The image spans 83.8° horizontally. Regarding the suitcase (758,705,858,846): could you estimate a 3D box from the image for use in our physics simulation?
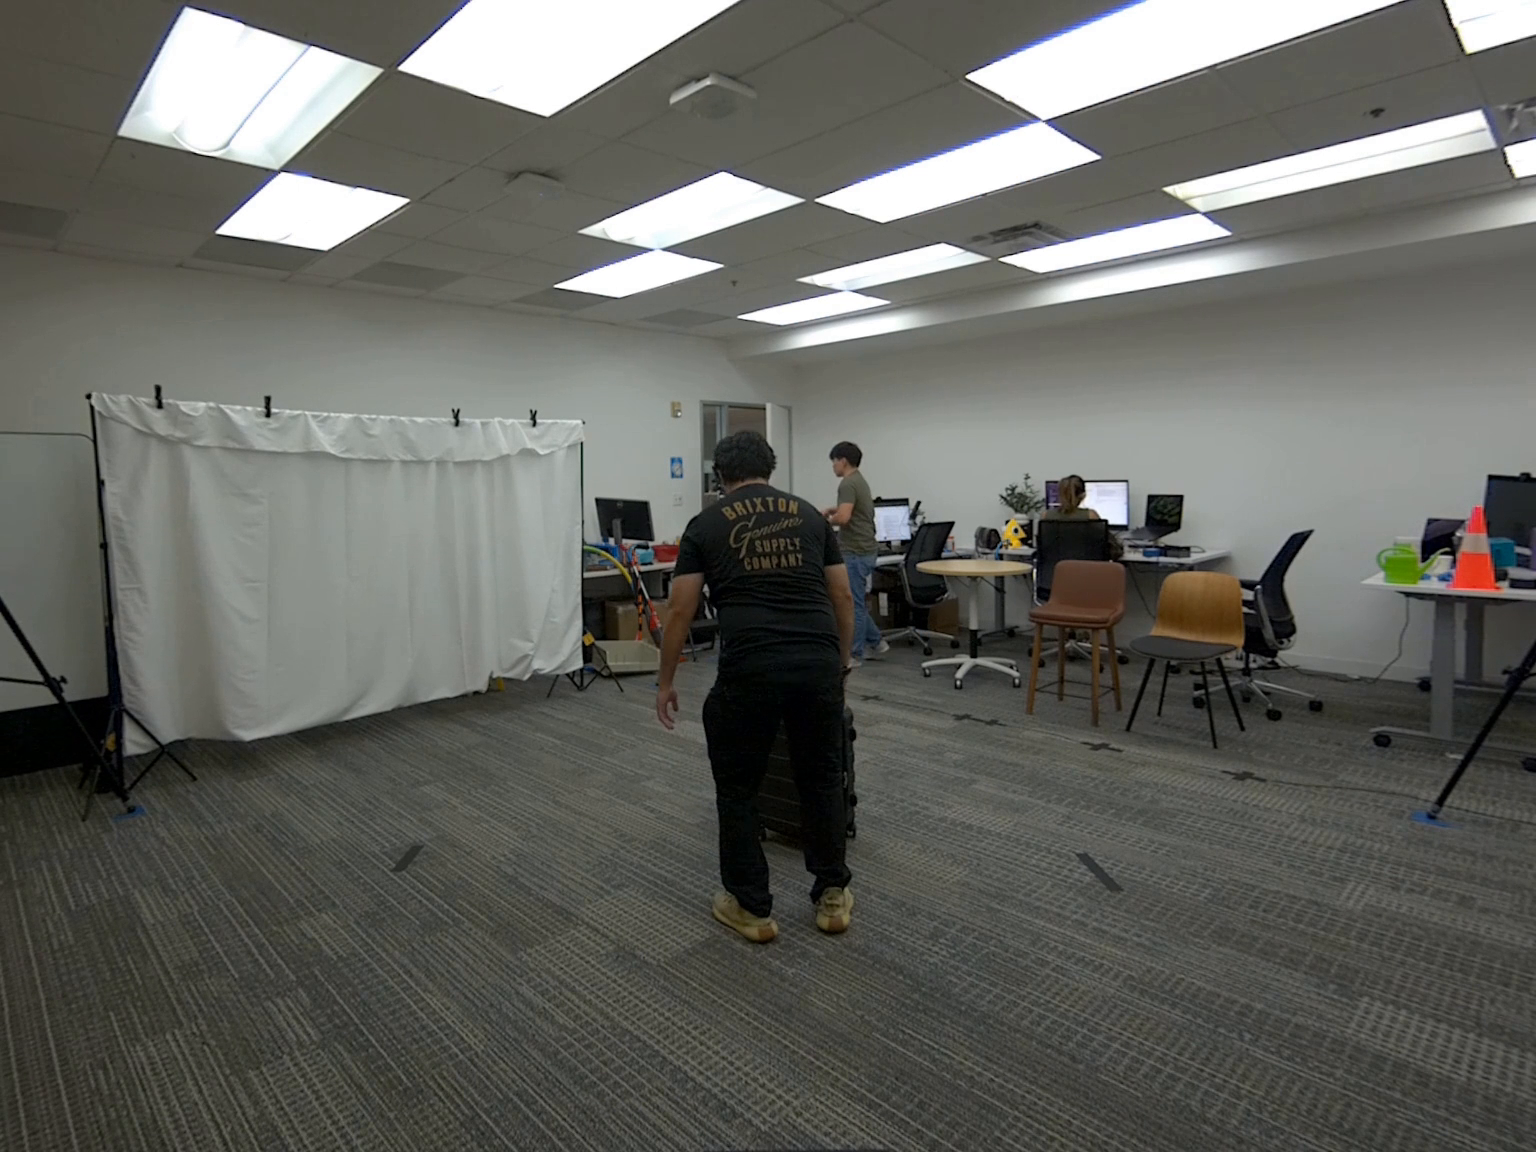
[{"bbox_3d":[0.148,0.548,3.315,0.395,0.977,0.250,1,2,36],"label":"suitcase"}]
